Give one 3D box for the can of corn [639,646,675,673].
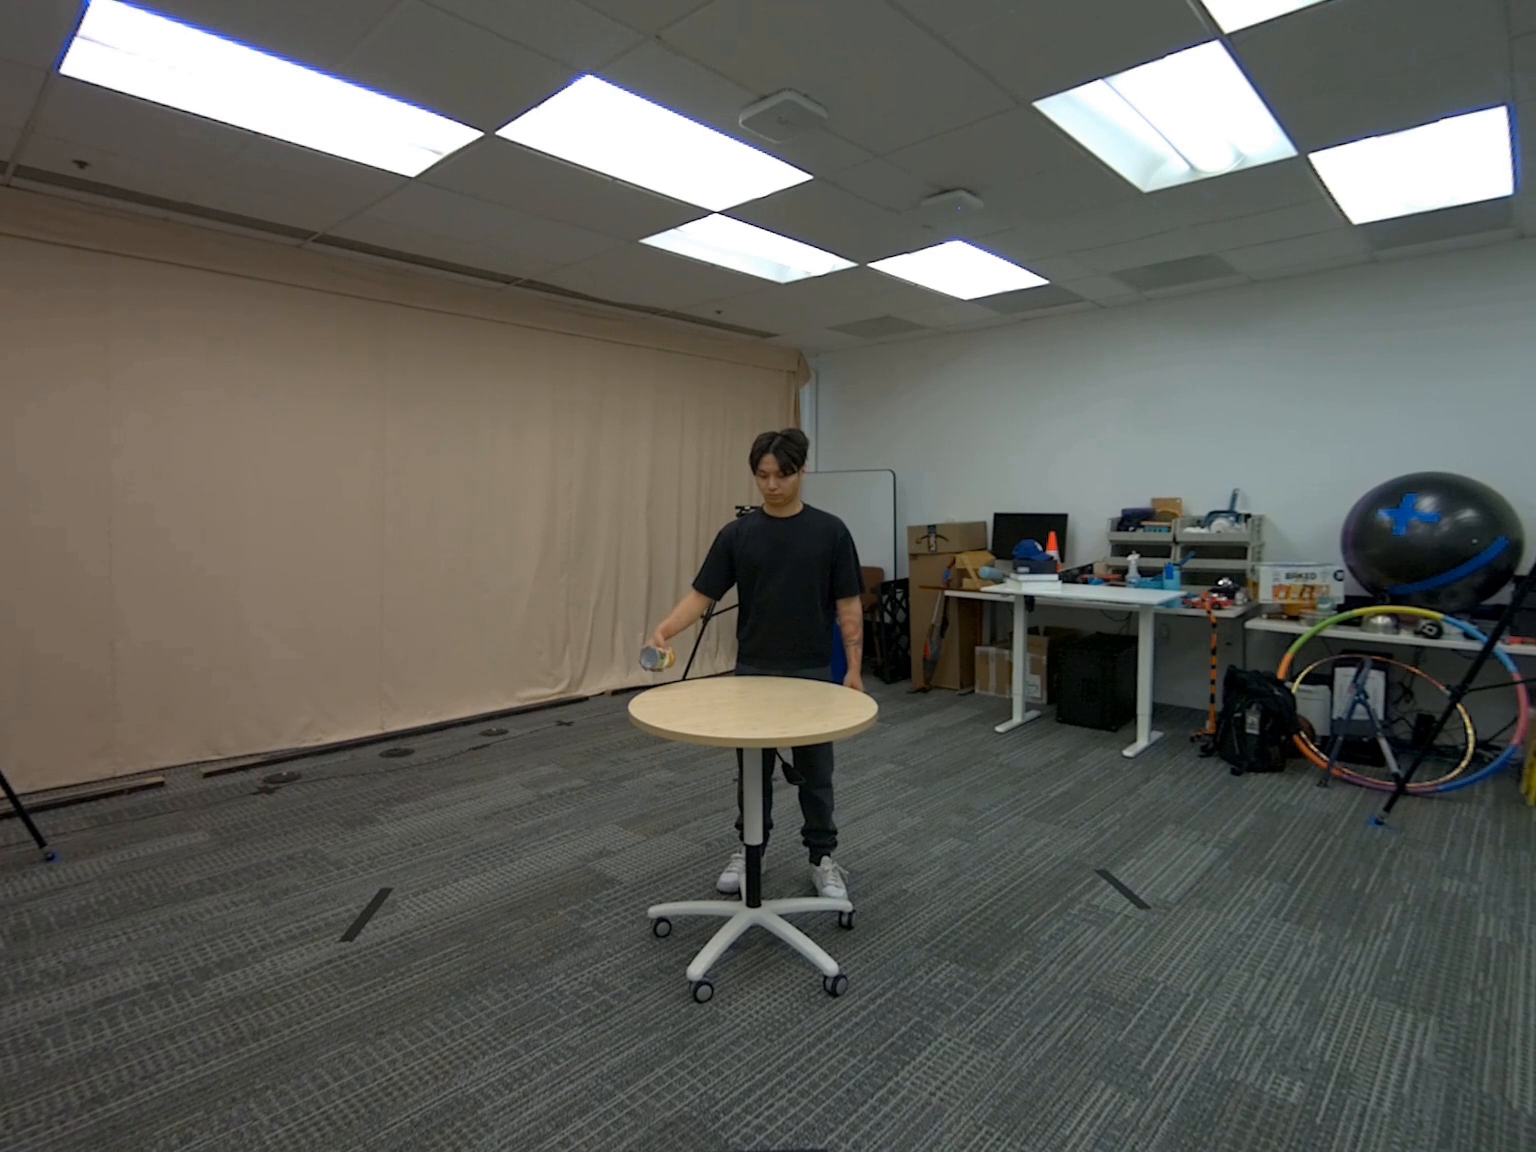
[{"bbox_3d":[-0.368,0.278,2.843,0.075,0.074,0.109,1,-2,15],"label":"can of corn"}]
